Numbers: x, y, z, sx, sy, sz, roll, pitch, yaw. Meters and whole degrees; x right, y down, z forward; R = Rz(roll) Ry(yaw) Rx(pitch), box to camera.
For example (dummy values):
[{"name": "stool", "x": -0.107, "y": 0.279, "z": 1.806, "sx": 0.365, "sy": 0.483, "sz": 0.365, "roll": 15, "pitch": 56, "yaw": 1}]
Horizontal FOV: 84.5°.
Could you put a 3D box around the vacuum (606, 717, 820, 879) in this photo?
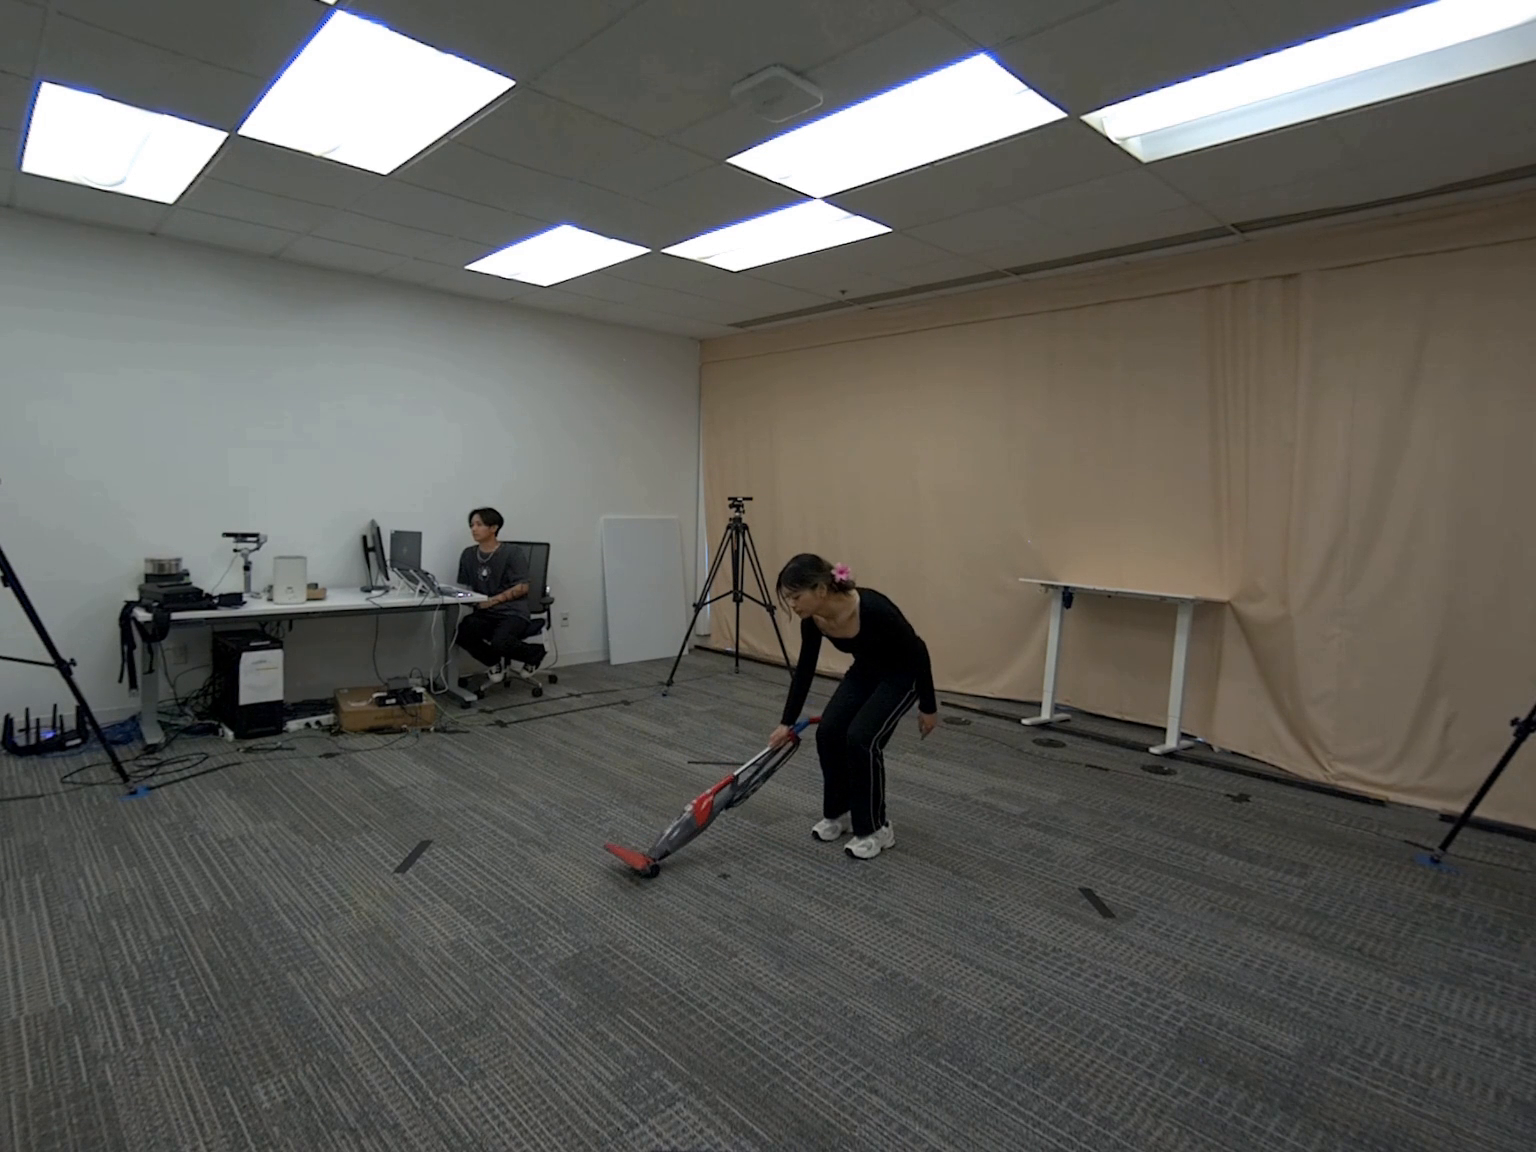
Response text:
[{"name": "vacuum", "x": -0.137, "y": 0.848, "z": 3.366, "sx": 1.039, "sy": 0.142, "sz": 0.259, "roll": -29, "pitch": 23, "yaw": -33}]
